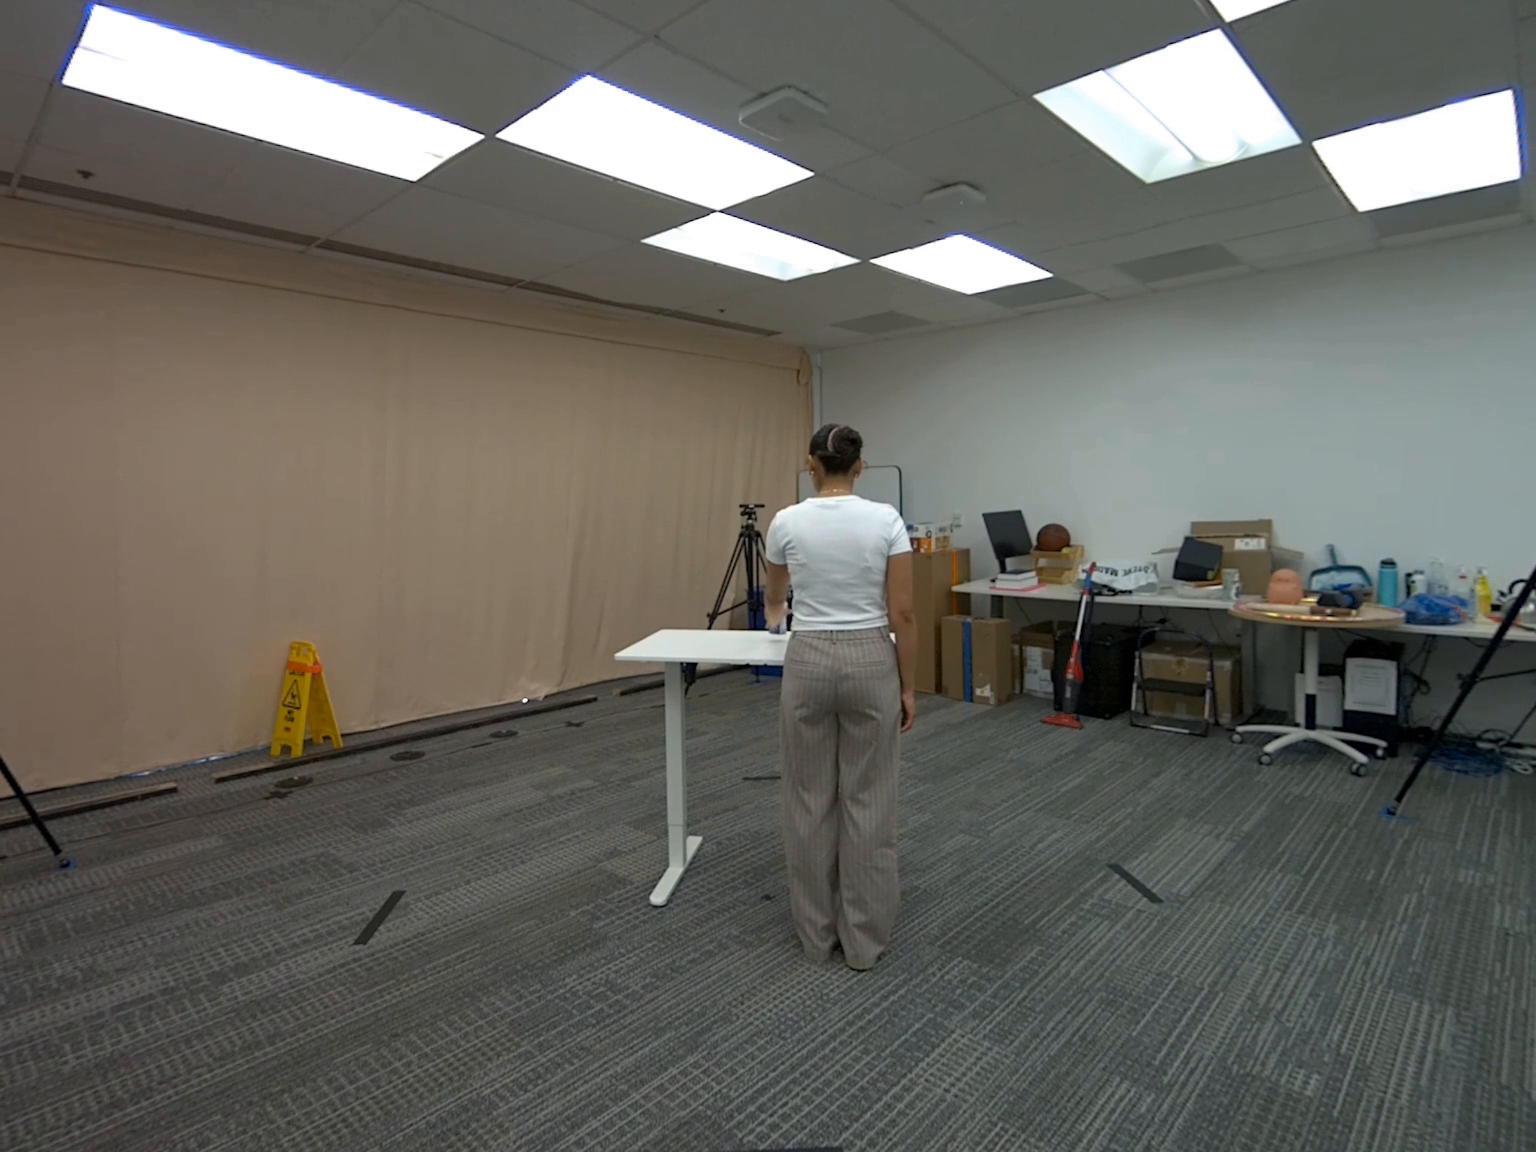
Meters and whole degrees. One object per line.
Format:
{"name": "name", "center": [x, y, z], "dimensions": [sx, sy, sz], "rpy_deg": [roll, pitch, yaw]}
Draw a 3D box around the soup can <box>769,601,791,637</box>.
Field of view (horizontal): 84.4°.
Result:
{"name": "soup can", "center": [0.043, 0.154, 3.133], "dimensions": [0.067, 0.121, 0.067], "rpy_deg": [3, 4, -2]}
